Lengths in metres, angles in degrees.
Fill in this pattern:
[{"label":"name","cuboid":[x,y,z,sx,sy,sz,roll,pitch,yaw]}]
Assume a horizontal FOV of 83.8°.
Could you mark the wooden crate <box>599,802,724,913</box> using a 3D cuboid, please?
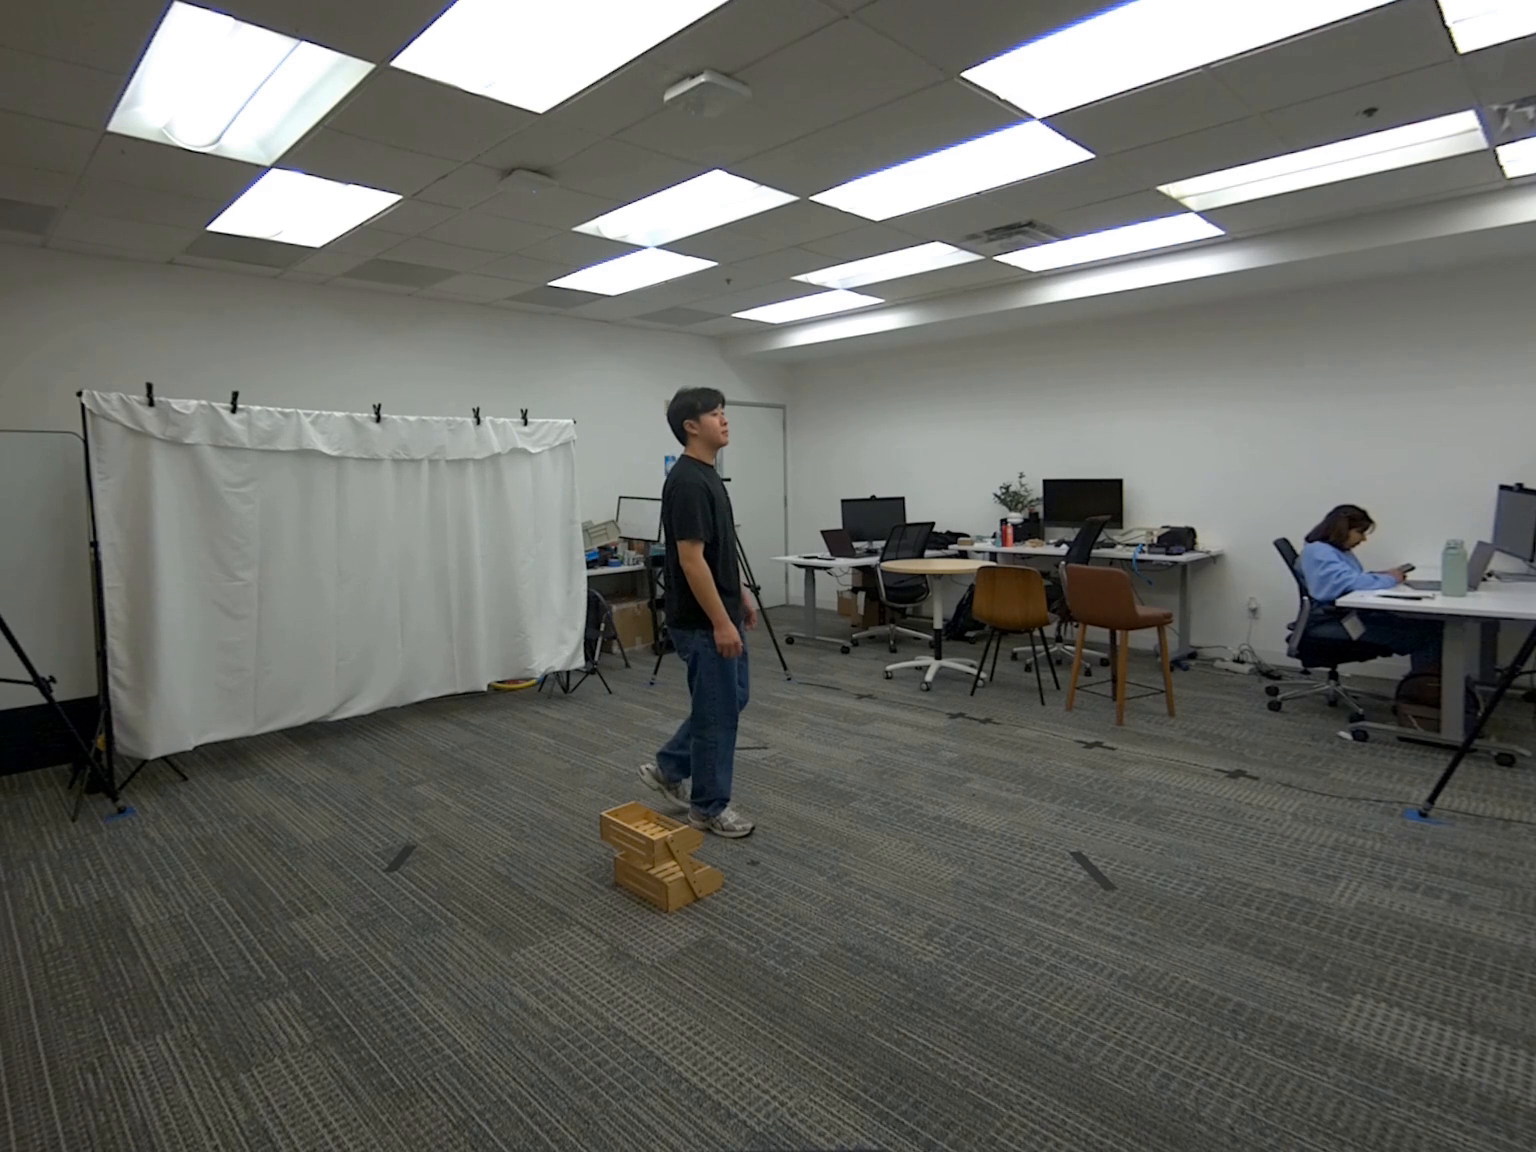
[{"label":"wooden crate","cuboid":[-0.356,0.935,2.926,0.294,0.272,0.334,-6,7,-44]}]
